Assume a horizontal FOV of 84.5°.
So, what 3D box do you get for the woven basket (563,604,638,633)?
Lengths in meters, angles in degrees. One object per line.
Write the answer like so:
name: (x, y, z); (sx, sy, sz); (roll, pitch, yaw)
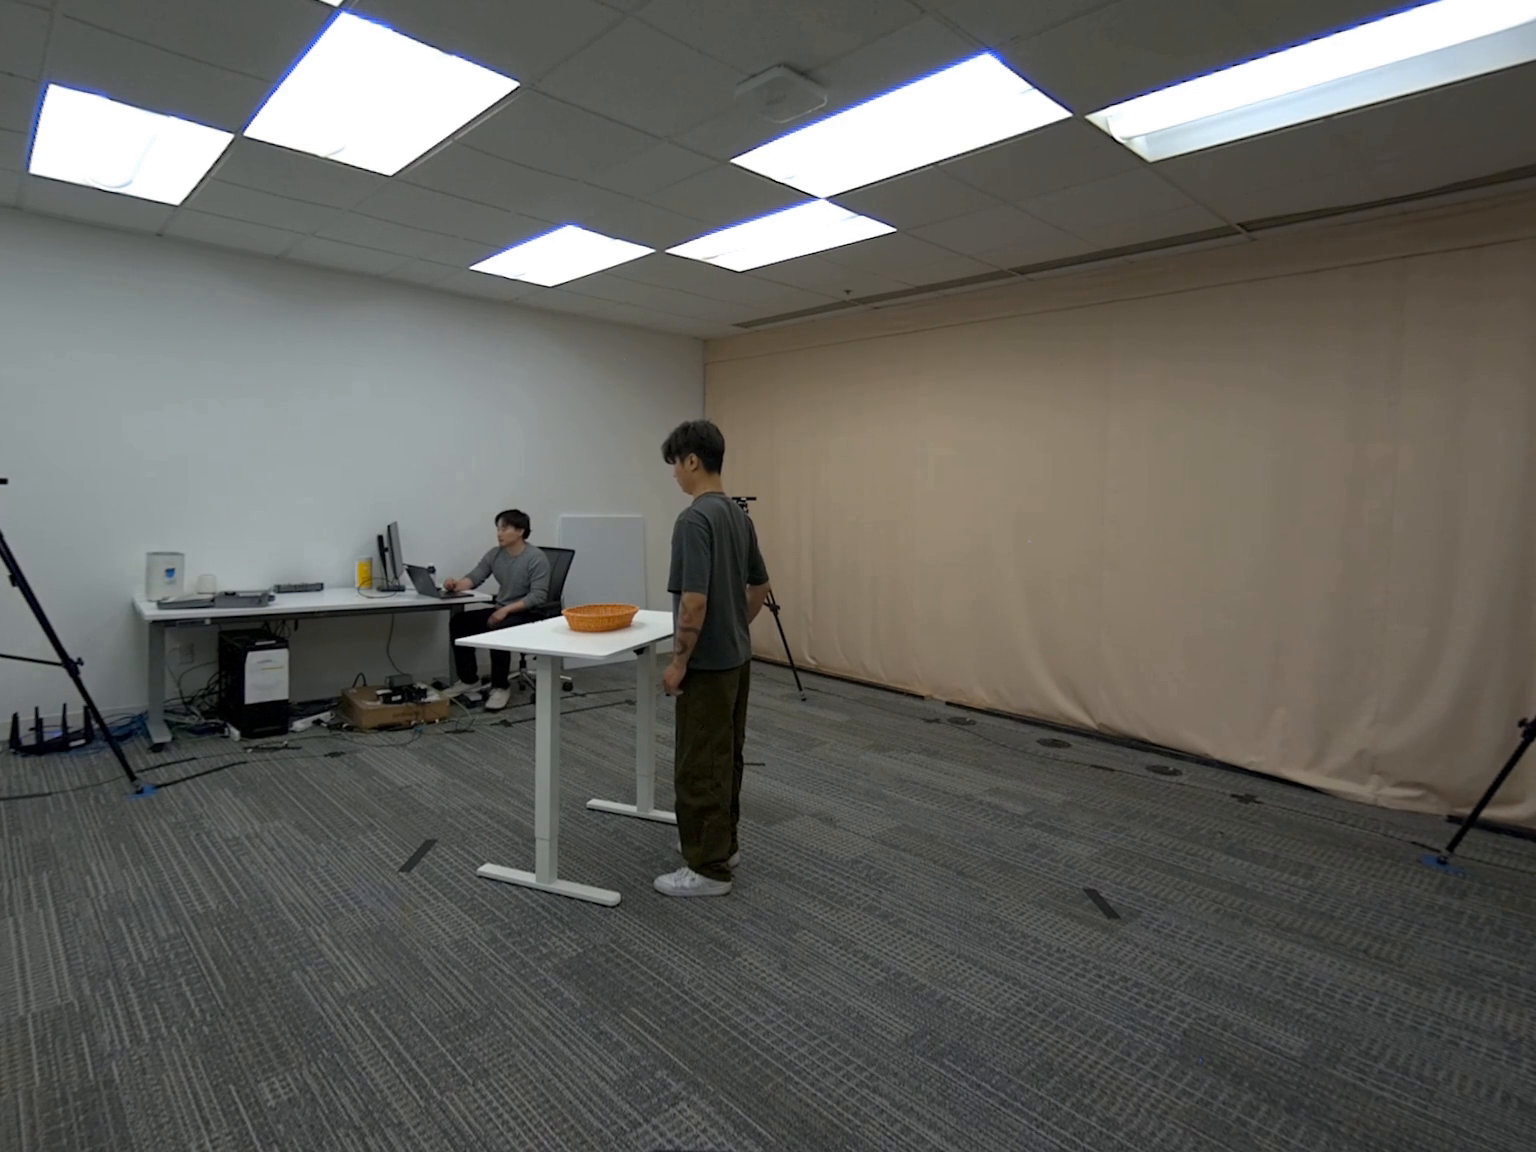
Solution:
woven basket: (-0.647, 0.165, 3.276); (0.257, 0.073, 0.345); (3, 6, 23)
